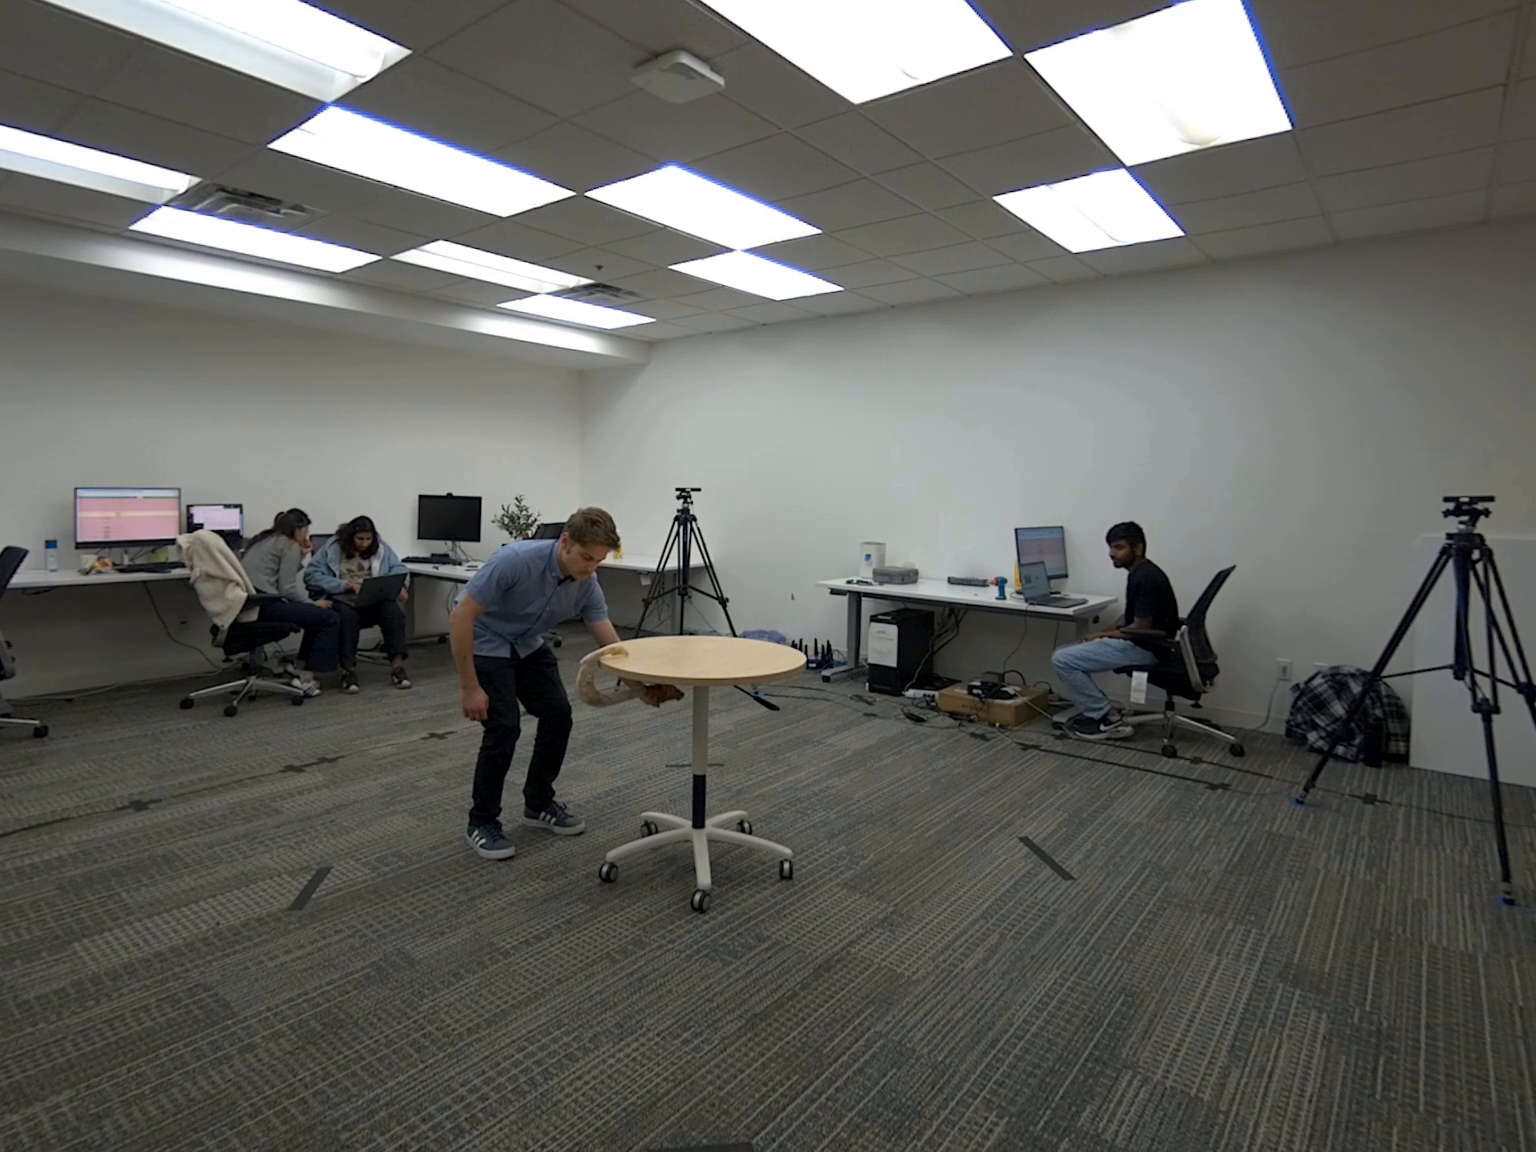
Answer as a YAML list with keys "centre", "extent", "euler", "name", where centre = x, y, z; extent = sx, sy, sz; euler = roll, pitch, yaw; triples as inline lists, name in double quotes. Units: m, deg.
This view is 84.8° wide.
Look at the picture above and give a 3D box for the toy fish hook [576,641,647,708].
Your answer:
- centre: [-0.502, 0.369, 3.103]
  extent: [0.488, 0.224, 0.050]
  euler: [10, 8, -43]
  name: "toy fish hook"
